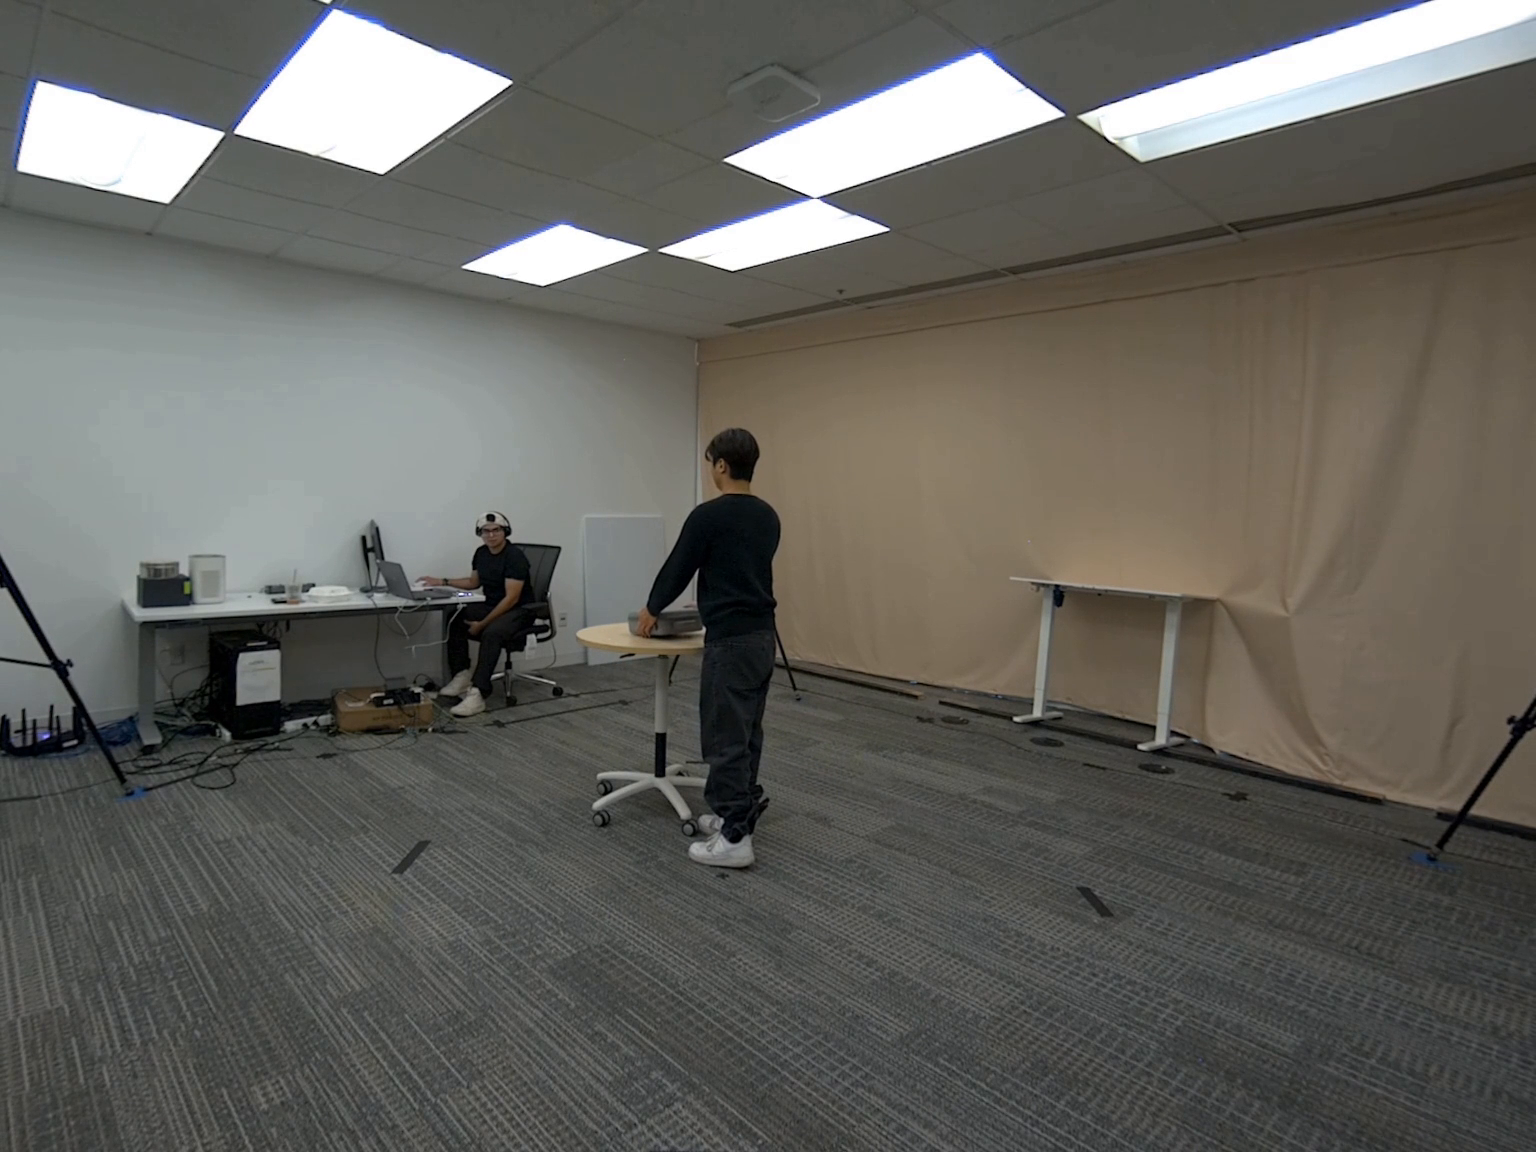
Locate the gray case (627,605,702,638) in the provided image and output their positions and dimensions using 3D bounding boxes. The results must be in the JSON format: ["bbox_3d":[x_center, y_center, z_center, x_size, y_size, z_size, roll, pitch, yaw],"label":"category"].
[{"bbox_3d":[-0.466,0.197,3.727,0.267,0.104,0.251,1,1,41],"label":"gray case"}]
